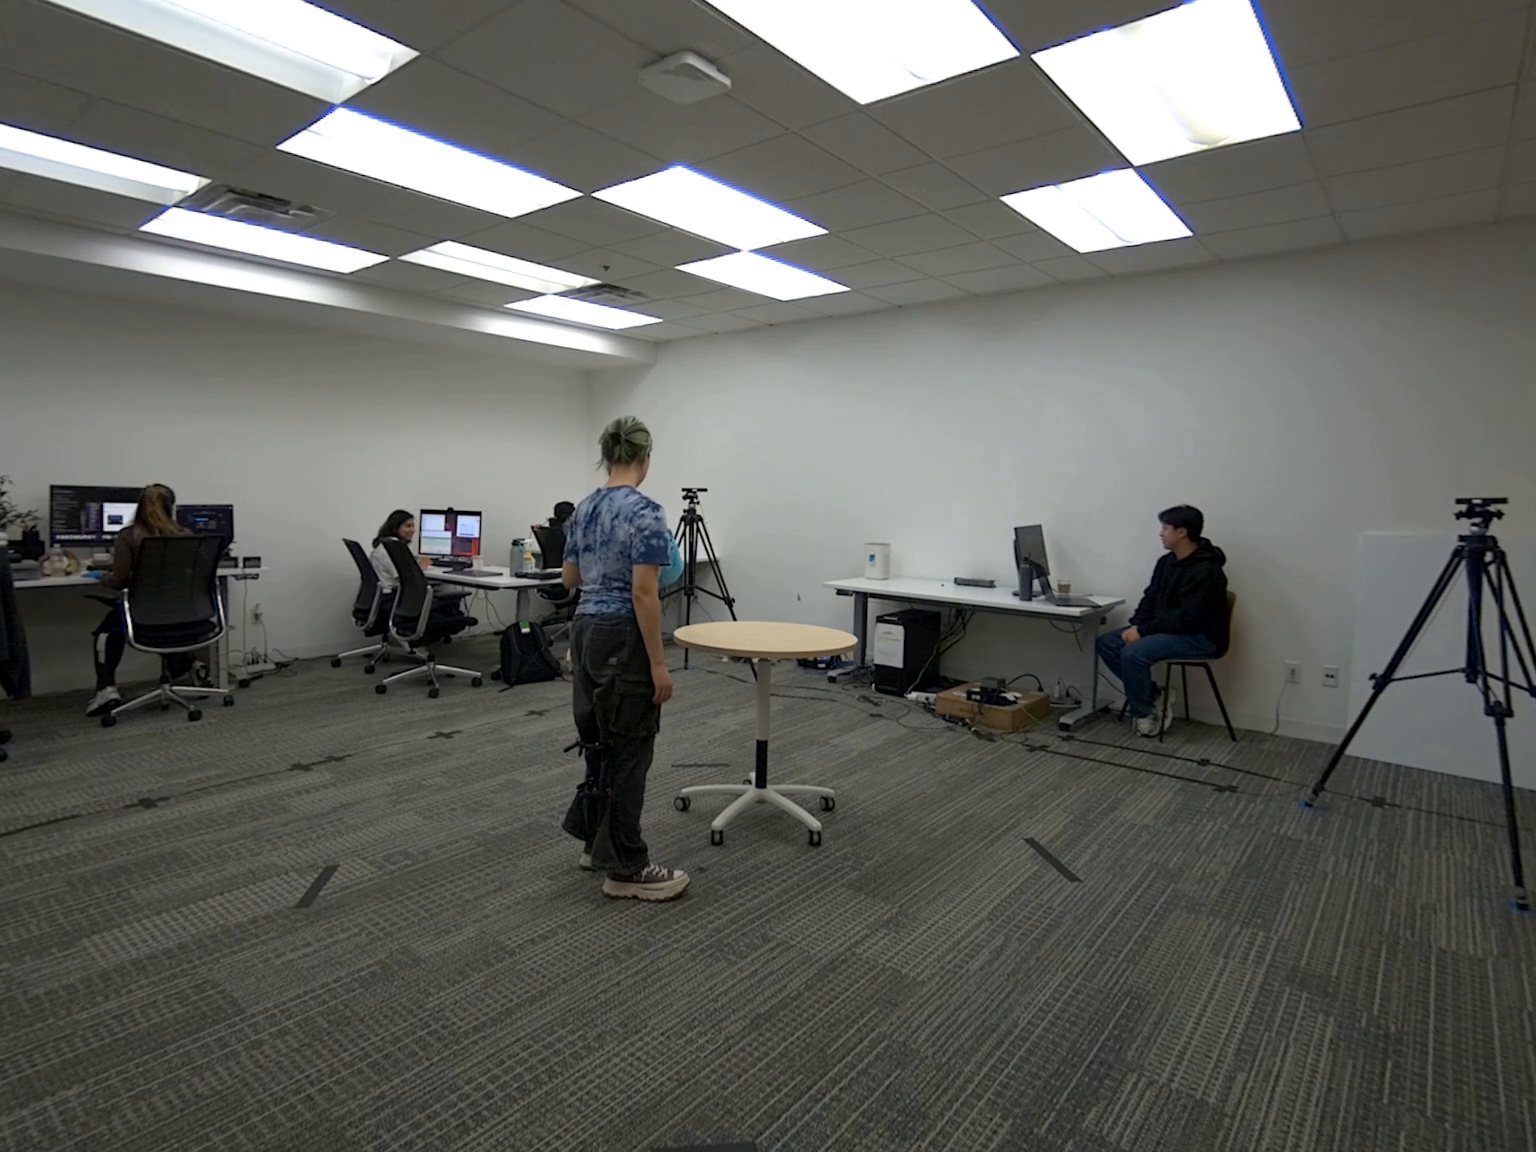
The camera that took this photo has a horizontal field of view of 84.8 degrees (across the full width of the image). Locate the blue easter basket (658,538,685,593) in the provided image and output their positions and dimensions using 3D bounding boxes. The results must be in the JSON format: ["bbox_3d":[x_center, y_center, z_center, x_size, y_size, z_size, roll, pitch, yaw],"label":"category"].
[{"bbox_3d":[-0.466,-0.063,3.431,0.246,0.150,0.251,-19,39,13],"label":"blue easter basket"}]
